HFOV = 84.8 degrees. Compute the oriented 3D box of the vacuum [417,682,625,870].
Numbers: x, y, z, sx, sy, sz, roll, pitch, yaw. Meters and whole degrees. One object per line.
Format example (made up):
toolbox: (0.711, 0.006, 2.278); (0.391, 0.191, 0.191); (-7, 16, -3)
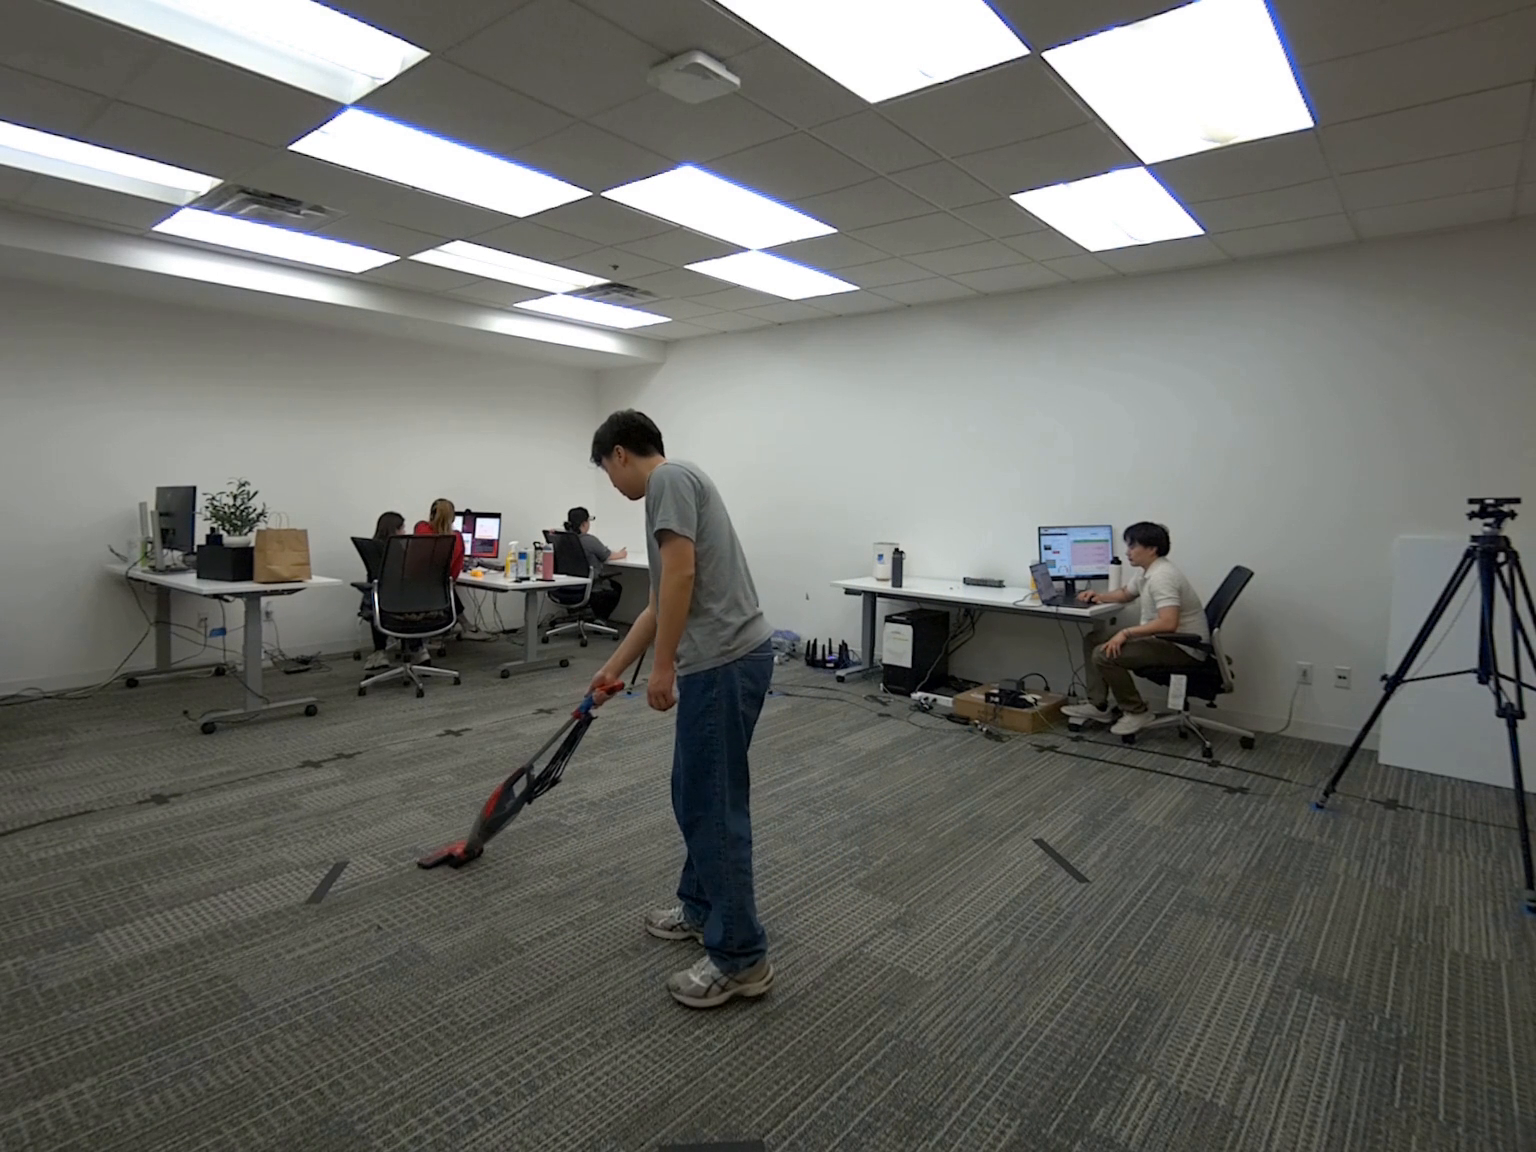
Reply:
vacuum: (-0.824, 0.695, 2.938); (1.050, 0.147, 0.248); (-45, -12, 24)
